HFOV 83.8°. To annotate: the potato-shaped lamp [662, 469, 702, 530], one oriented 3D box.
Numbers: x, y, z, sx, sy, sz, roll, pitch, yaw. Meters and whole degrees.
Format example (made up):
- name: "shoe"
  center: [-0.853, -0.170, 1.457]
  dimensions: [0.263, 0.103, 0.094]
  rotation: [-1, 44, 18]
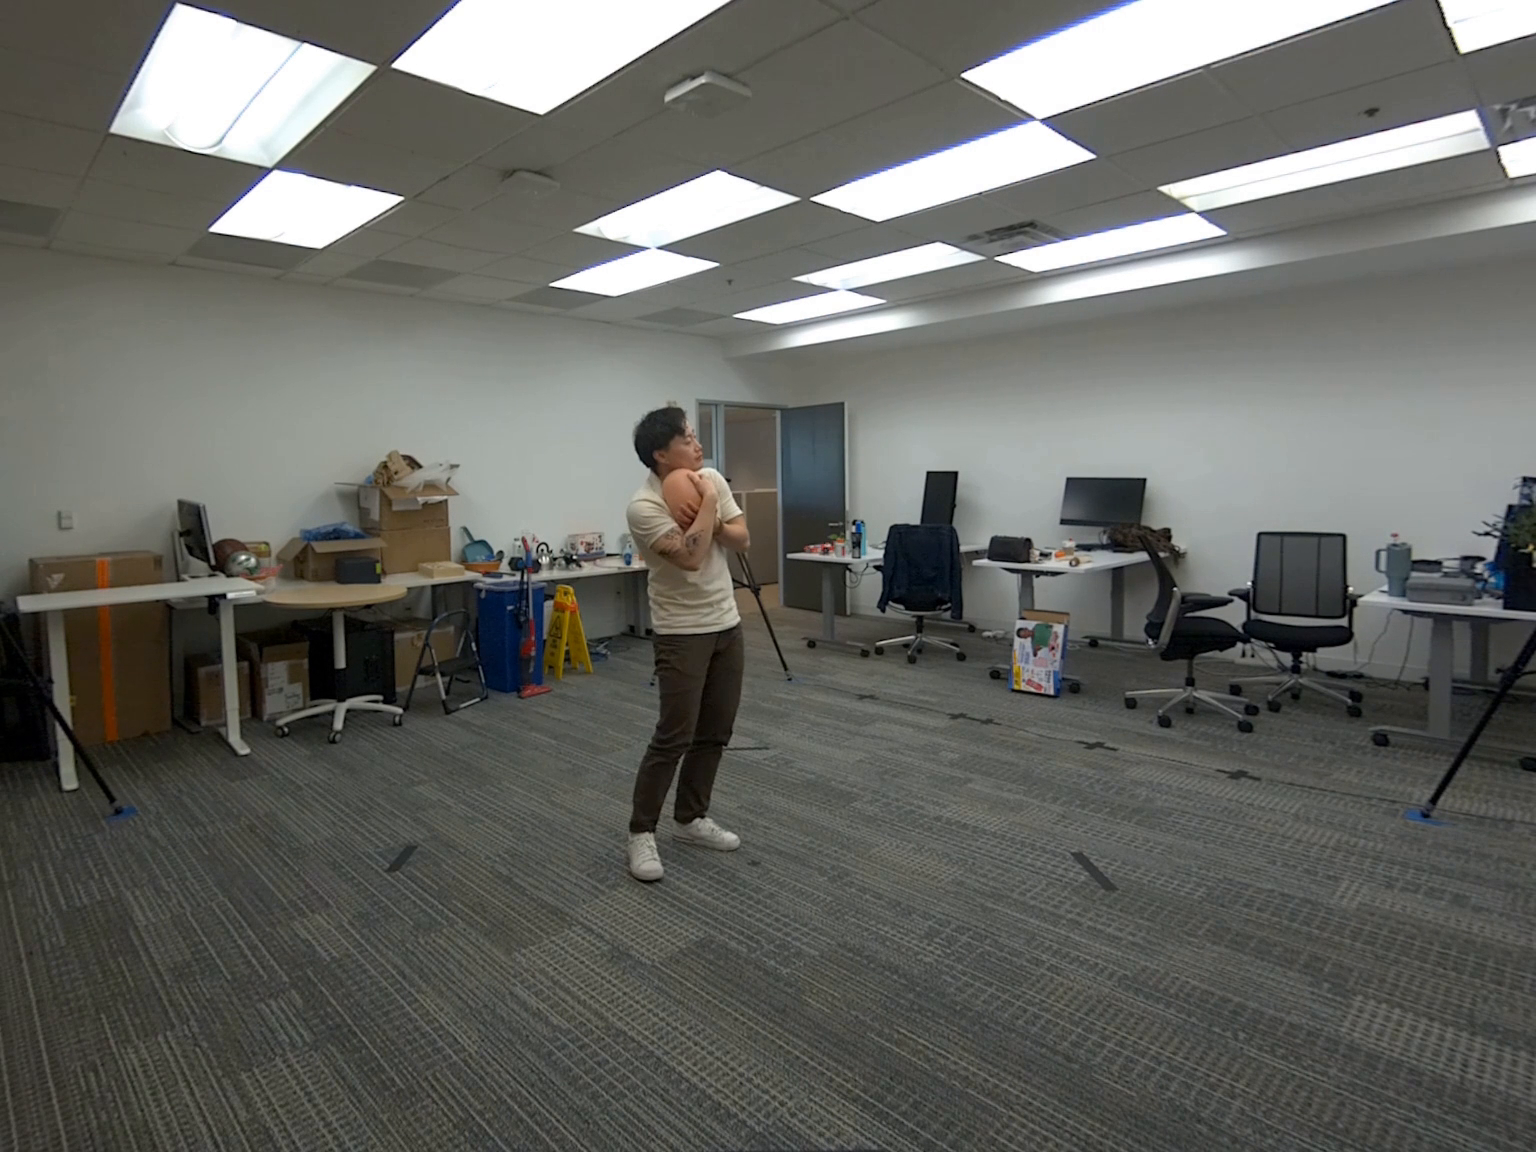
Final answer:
- name: "potato-shaped lamp"
  center: [-0.304, -0.288, 3.058]
  dimensions: [0.162, 0.203, 0.170]
  rotation: [-25, -21, -34]
